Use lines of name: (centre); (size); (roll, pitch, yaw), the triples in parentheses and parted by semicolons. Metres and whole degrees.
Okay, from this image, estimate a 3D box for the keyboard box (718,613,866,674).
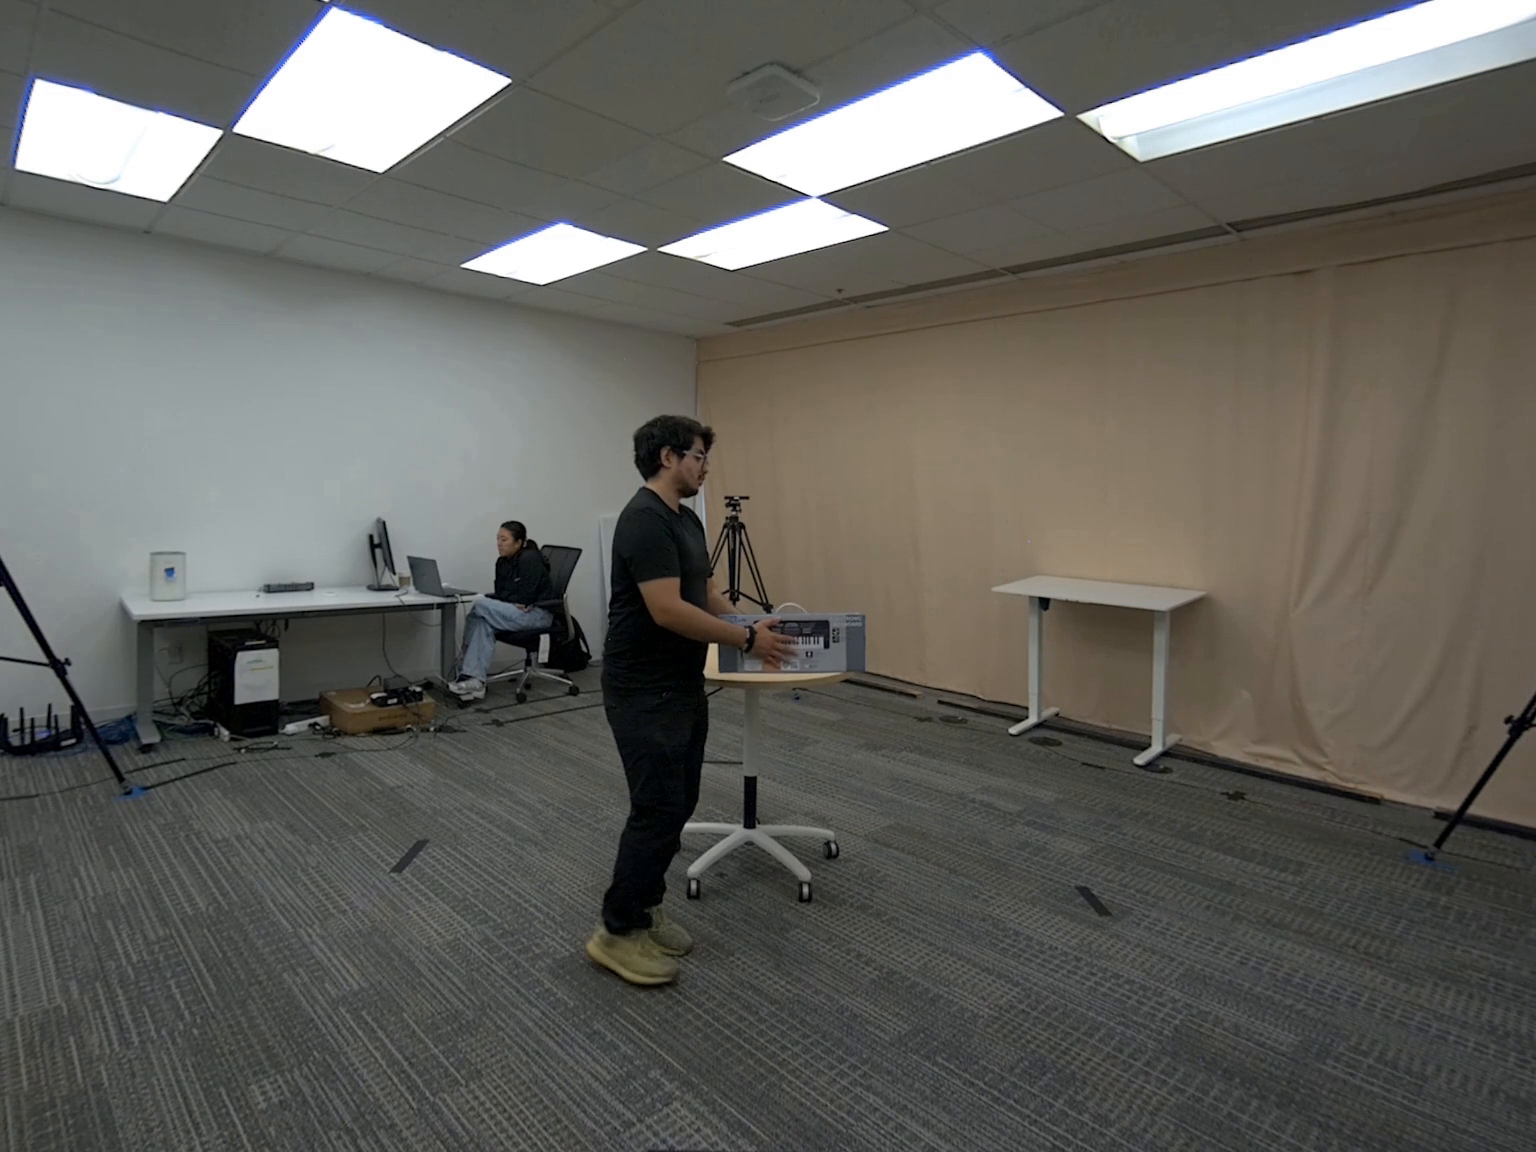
keyboard box: (0.052, 0.198, 2.537); (0.437, 0.176, 0.059); (-1, 0, 0)
